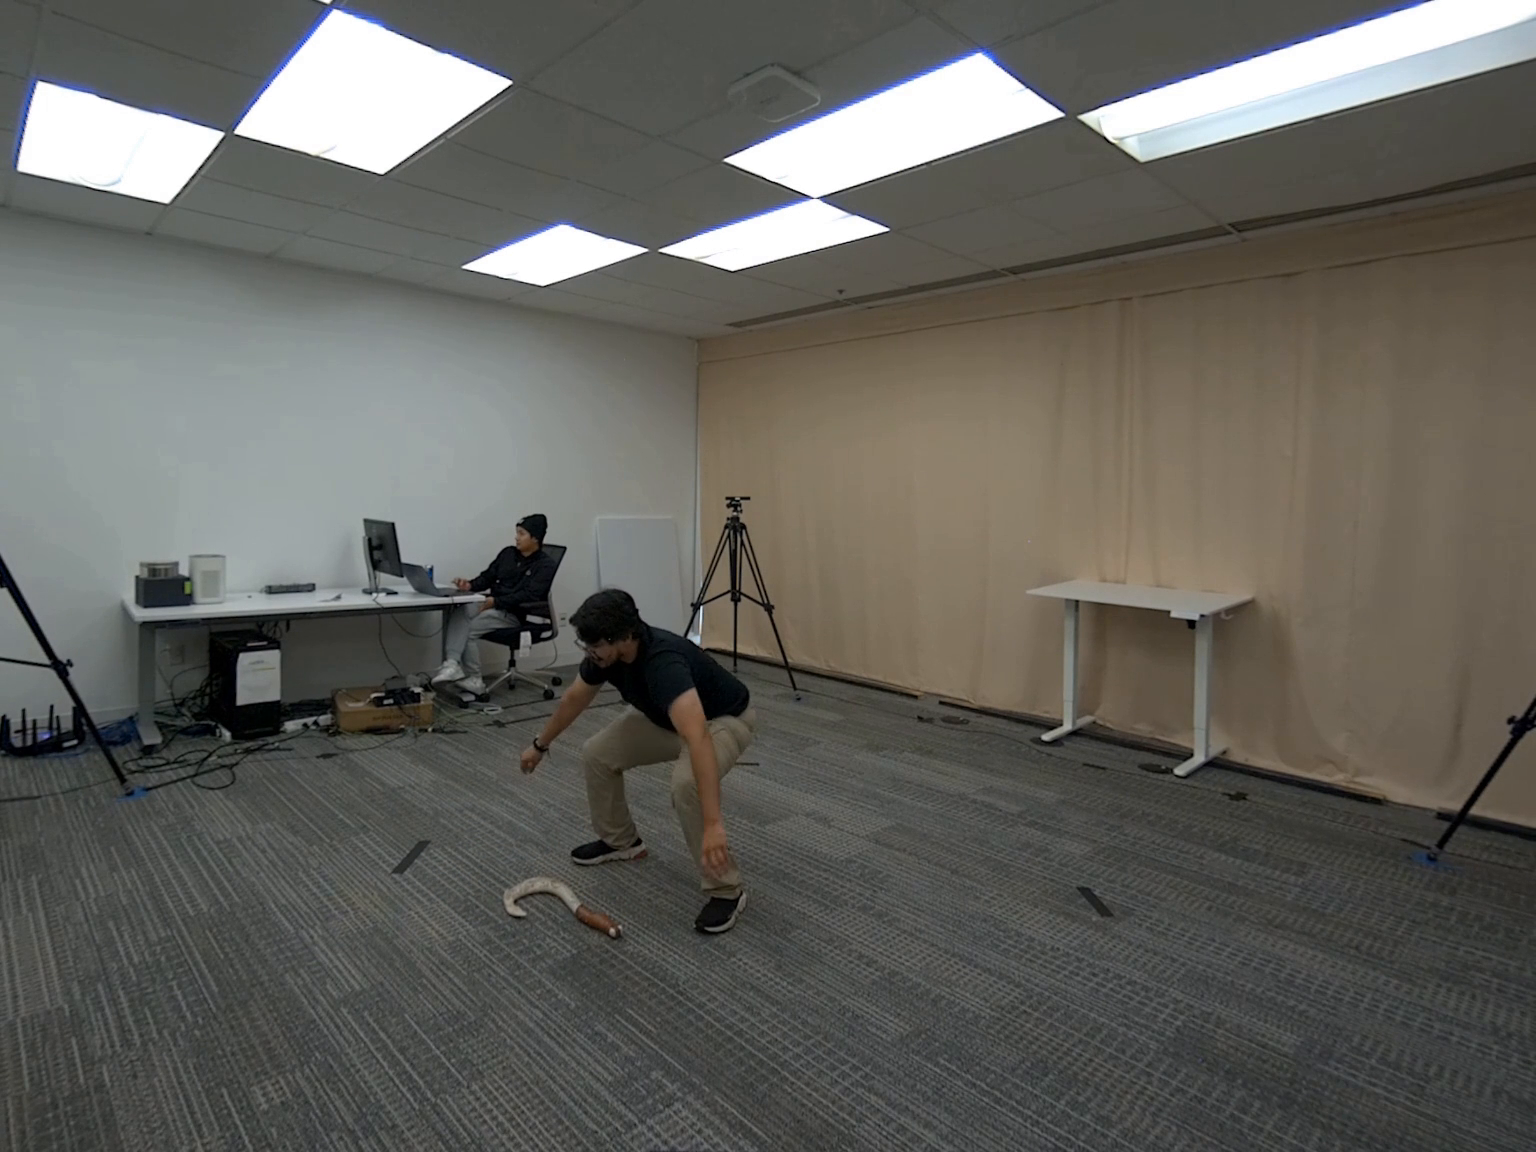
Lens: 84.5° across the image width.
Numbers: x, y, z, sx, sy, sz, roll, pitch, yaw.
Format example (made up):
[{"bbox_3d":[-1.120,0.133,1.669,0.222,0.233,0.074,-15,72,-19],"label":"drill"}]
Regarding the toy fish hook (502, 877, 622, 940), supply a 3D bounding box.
[{"bbox_3d":[-0.694,1.113,2.771,0.519,0.048,0.220,5,13,43],"label":"toy fish hook"}]
